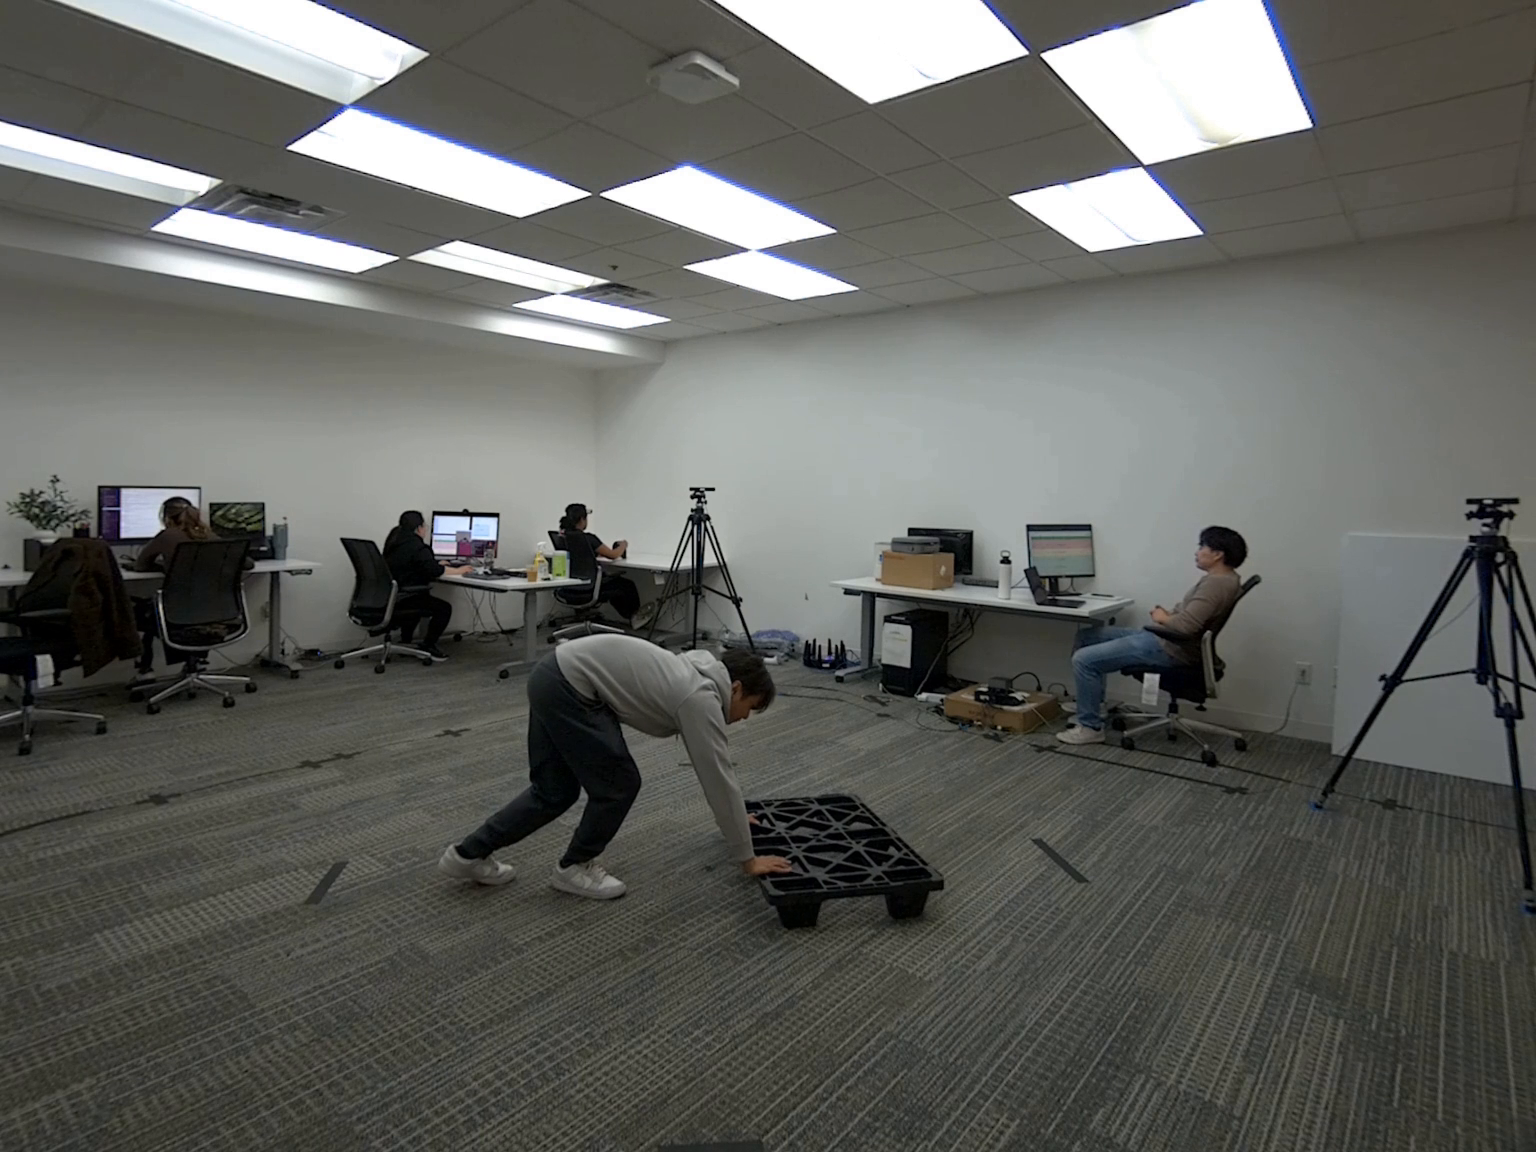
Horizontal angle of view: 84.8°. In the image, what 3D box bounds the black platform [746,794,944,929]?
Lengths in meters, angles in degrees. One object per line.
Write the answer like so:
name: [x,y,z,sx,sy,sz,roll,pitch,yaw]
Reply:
black platform: [0.173,1.006,3.094,0.596,0.143,0.821,0,6,-15]
